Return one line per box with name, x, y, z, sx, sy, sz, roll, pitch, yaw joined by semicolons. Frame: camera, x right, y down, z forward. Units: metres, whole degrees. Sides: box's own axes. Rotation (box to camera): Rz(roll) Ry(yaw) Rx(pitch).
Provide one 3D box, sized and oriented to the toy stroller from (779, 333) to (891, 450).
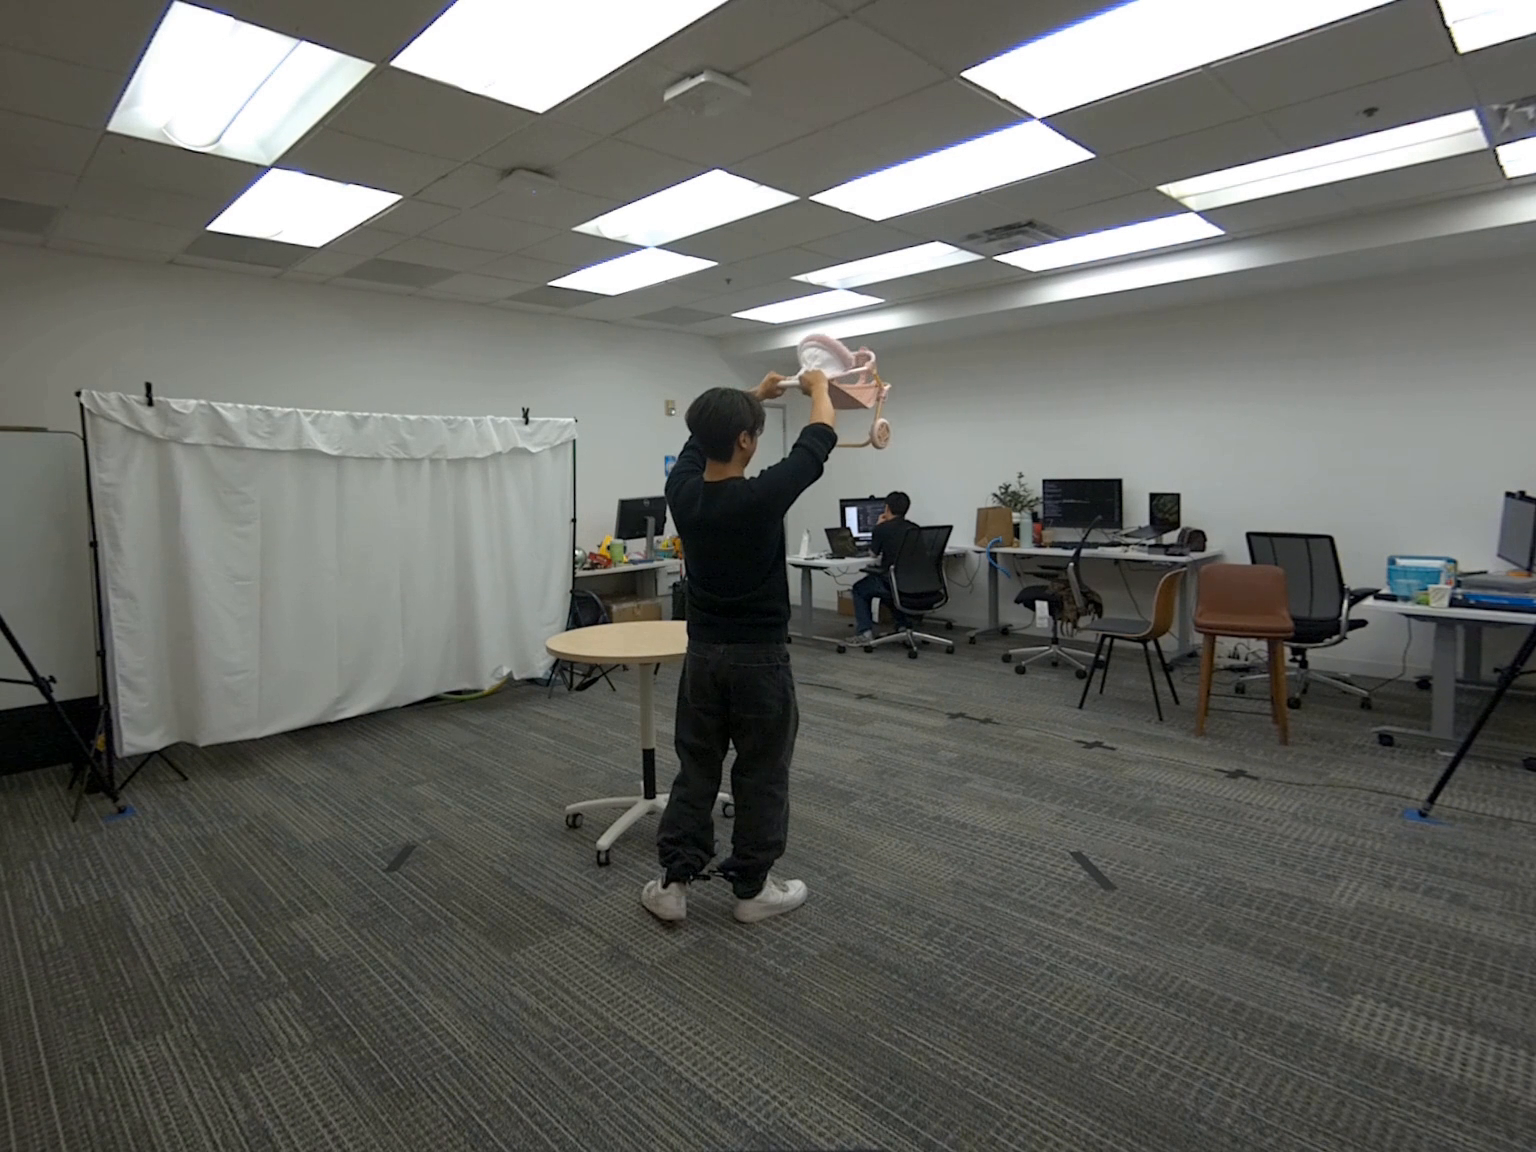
toy stroller;0.268;-0.682;3.078;0.291;0.343;0.514;11;-20;43
